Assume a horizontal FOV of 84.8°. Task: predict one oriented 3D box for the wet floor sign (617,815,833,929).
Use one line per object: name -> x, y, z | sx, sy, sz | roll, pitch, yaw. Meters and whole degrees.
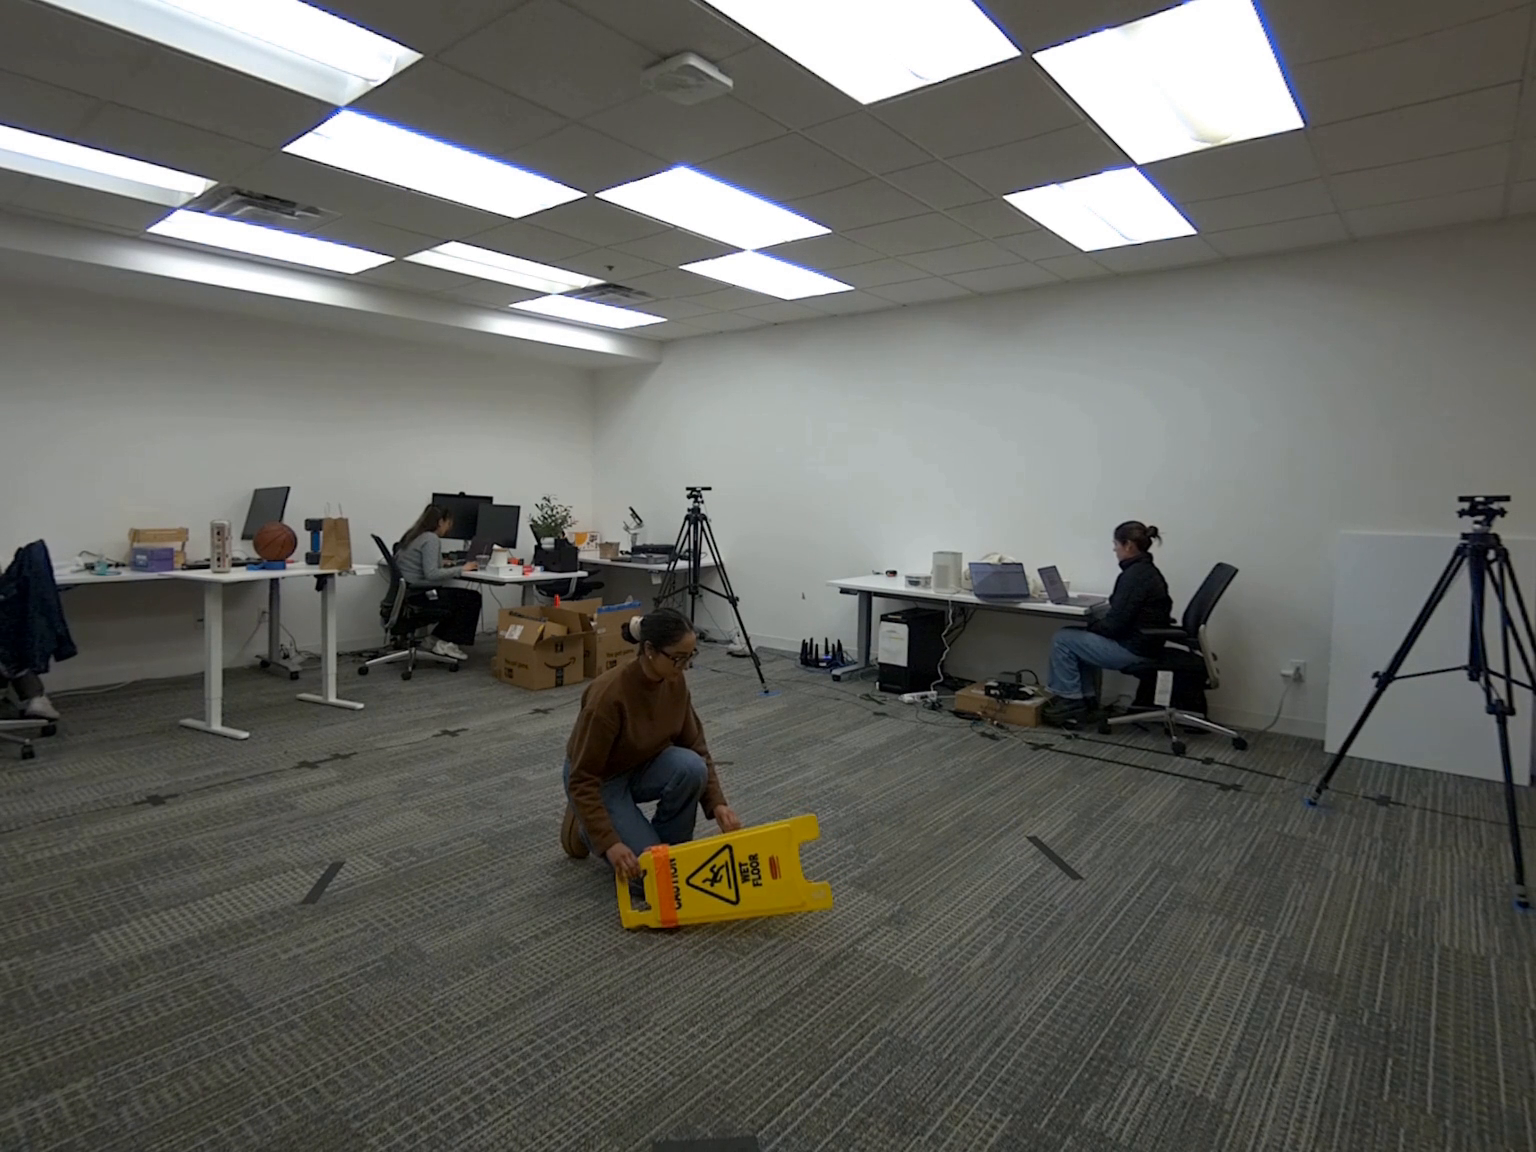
wet floor sign -> -0.167, 0.966, 2.735 | 0.640, 0.288, 0.286 | -7, -19, -10
